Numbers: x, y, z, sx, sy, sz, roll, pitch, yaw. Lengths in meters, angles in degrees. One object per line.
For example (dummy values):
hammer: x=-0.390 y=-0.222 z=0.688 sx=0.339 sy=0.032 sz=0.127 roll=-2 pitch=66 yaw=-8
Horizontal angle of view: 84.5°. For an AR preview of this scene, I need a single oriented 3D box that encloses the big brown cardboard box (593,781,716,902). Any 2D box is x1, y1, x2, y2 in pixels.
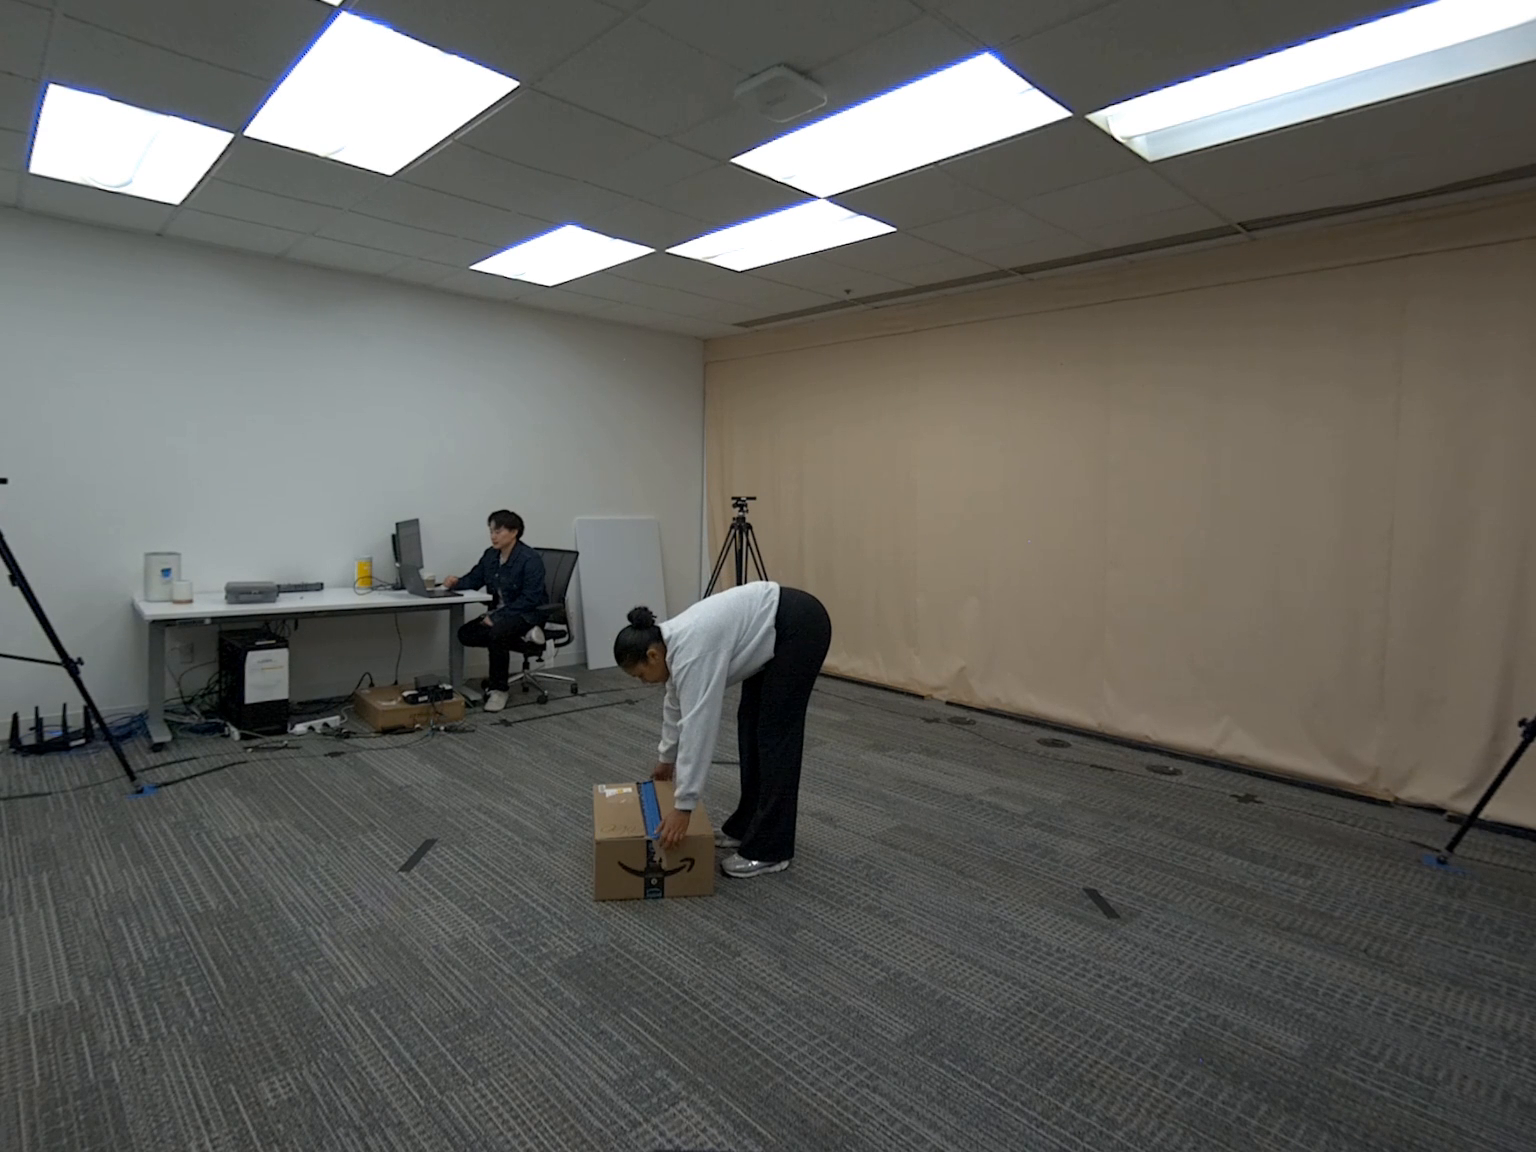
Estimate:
big brown cardboard box: x=-0.461 y=0.980 z=3.181 sx=0.414 sy=0.232 sz=0.596 roll=0 pitch=6 yaw=-11
